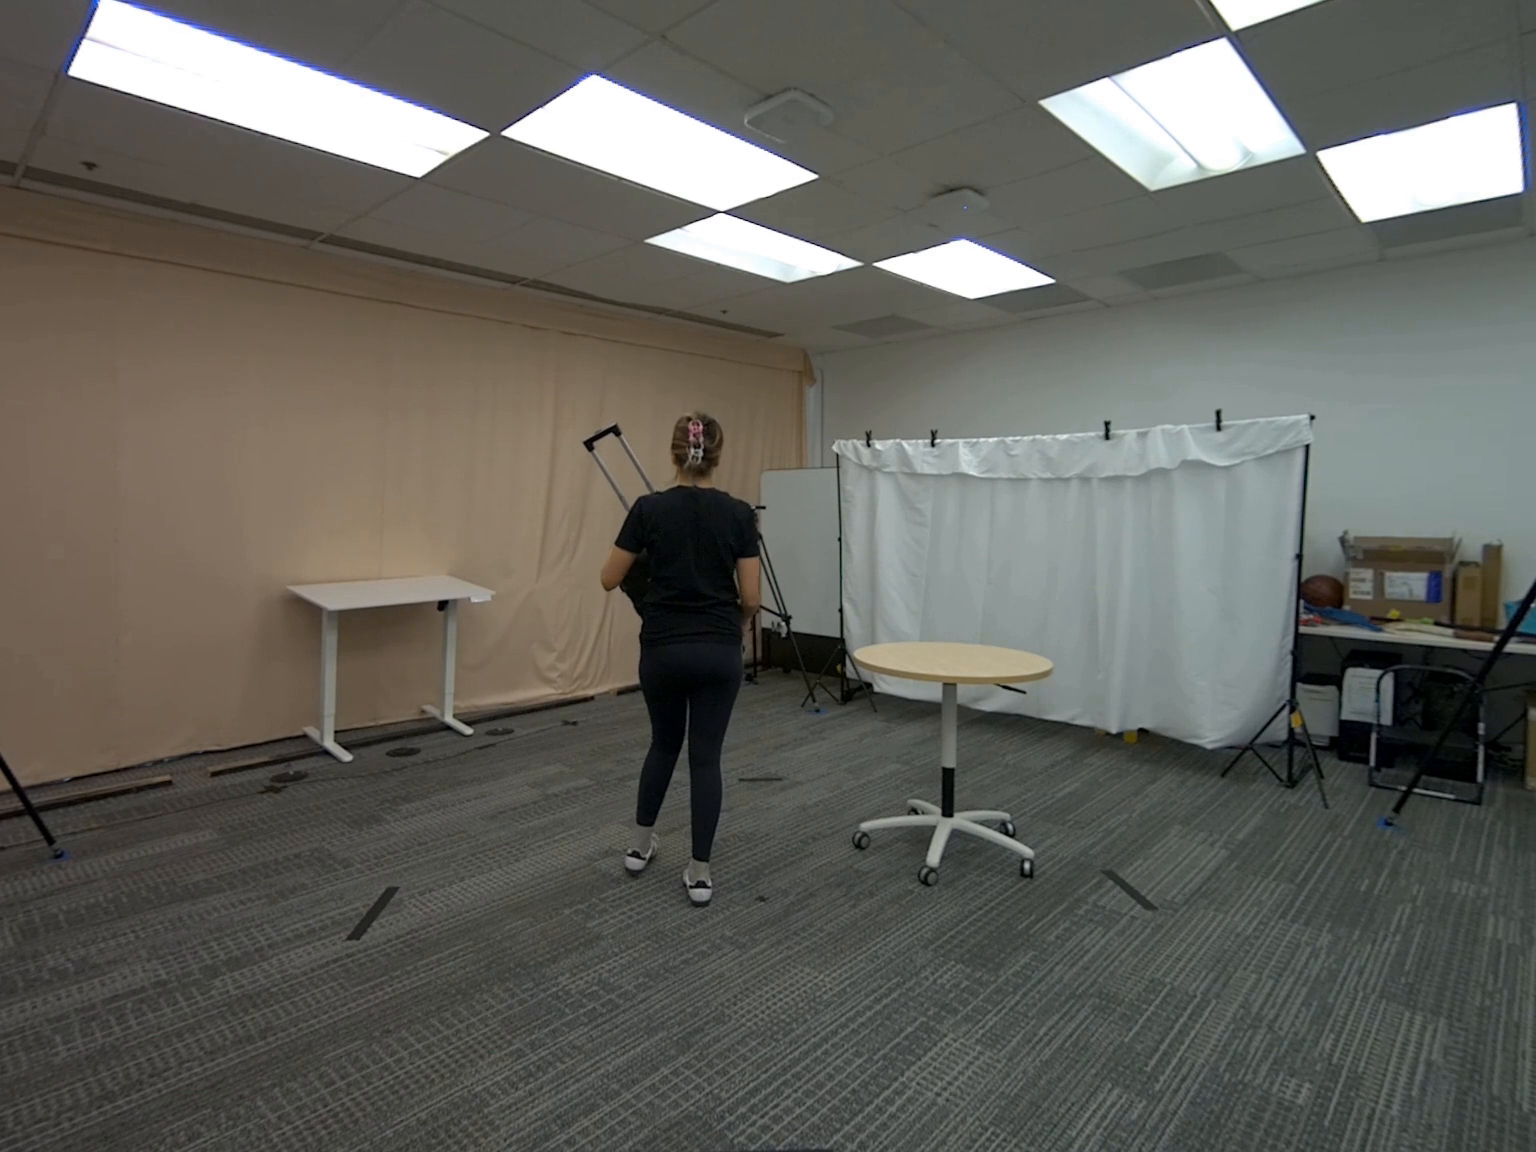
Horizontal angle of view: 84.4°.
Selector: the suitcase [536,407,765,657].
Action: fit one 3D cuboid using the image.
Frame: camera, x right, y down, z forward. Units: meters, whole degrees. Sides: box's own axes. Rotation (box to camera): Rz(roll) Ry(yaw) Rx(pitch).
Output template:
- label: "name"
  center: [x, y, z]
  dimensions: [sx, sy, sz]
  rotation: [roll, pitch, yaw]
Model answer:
- label: "suitcase"
  center: [-0.429, -0.102, 3.254]
  dimensions: [0.389, 0.962, 0.258]
  rotation: [-23, 18, 20]
